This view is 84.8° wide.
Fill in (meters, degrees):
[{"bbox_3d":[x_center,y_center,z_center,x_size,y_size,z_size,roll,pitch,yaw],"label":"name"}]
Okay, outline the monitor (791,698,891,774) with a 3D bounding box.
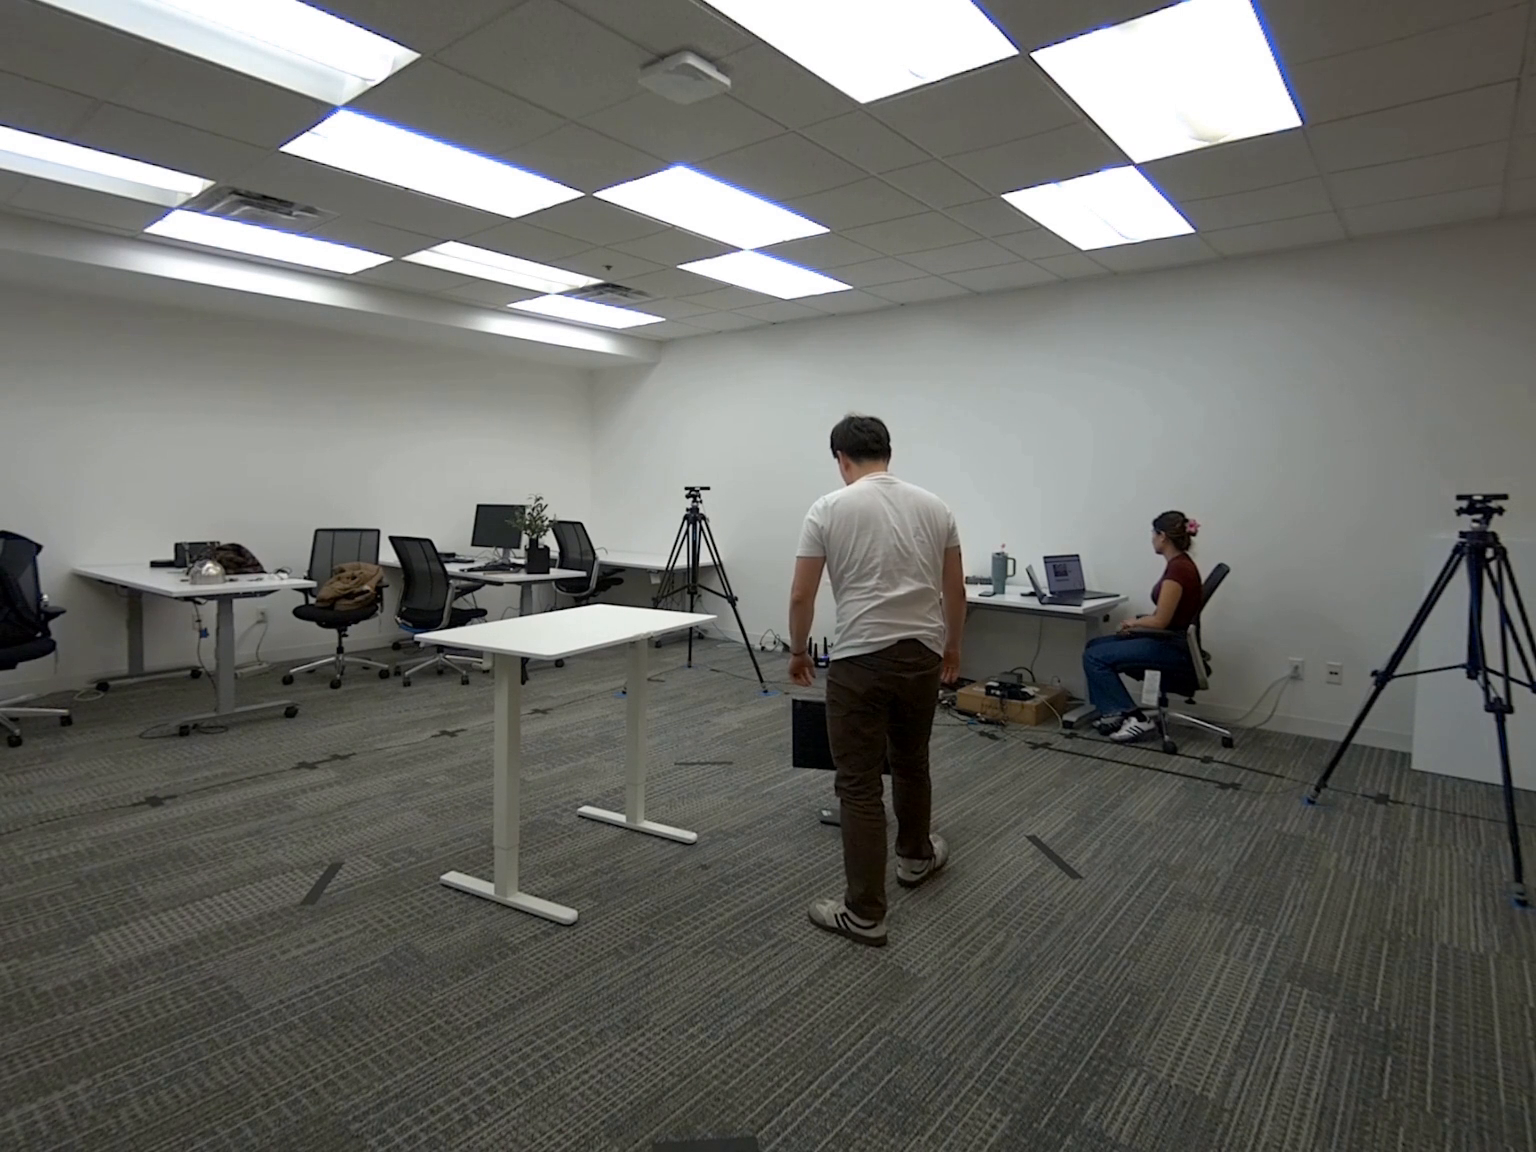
[{"bbox_3d":[0.360,0.768,3.564,0.543,0.519,0.187,3,6,6],"label":"monitor"}]
